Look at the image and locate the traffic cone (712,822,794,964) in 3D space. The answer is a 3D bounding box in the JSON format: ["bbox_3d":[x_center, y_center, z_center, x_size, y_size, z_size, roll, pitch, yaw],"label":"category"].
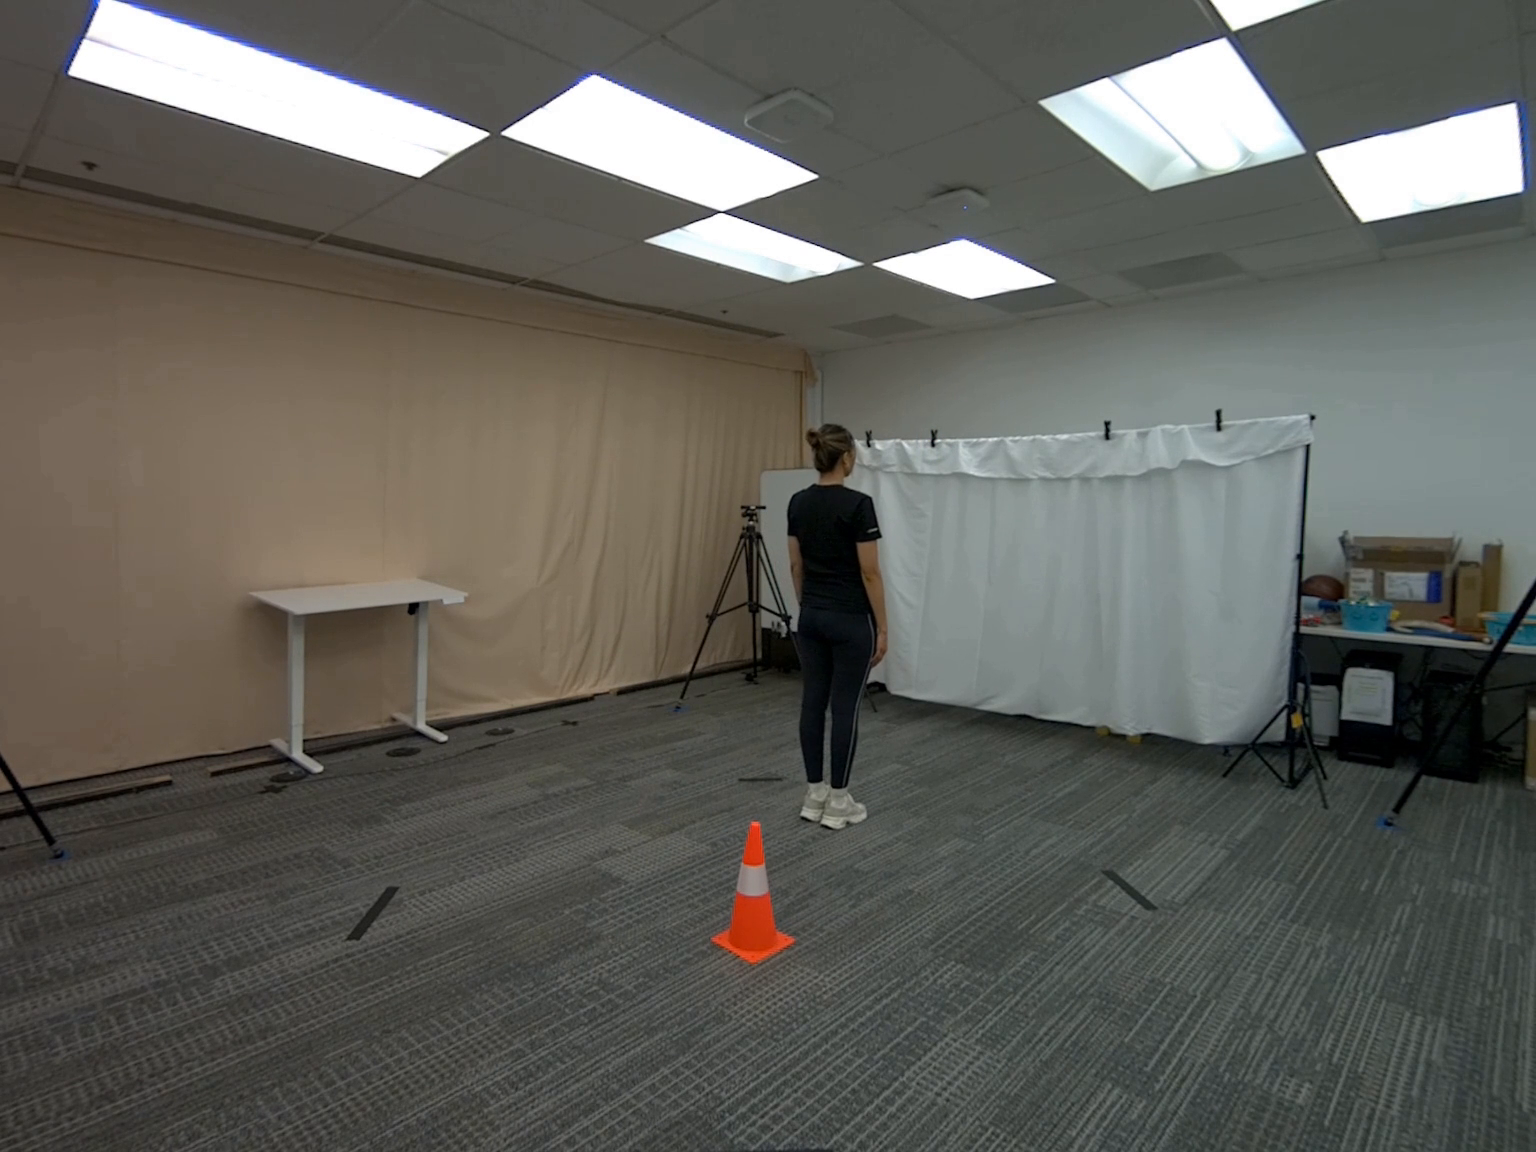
[{"bbox_3d":[-0.044,0.987,2.681,0.197,0.383,0.211,-2,4,-35],"label":"traffic cone"}]
